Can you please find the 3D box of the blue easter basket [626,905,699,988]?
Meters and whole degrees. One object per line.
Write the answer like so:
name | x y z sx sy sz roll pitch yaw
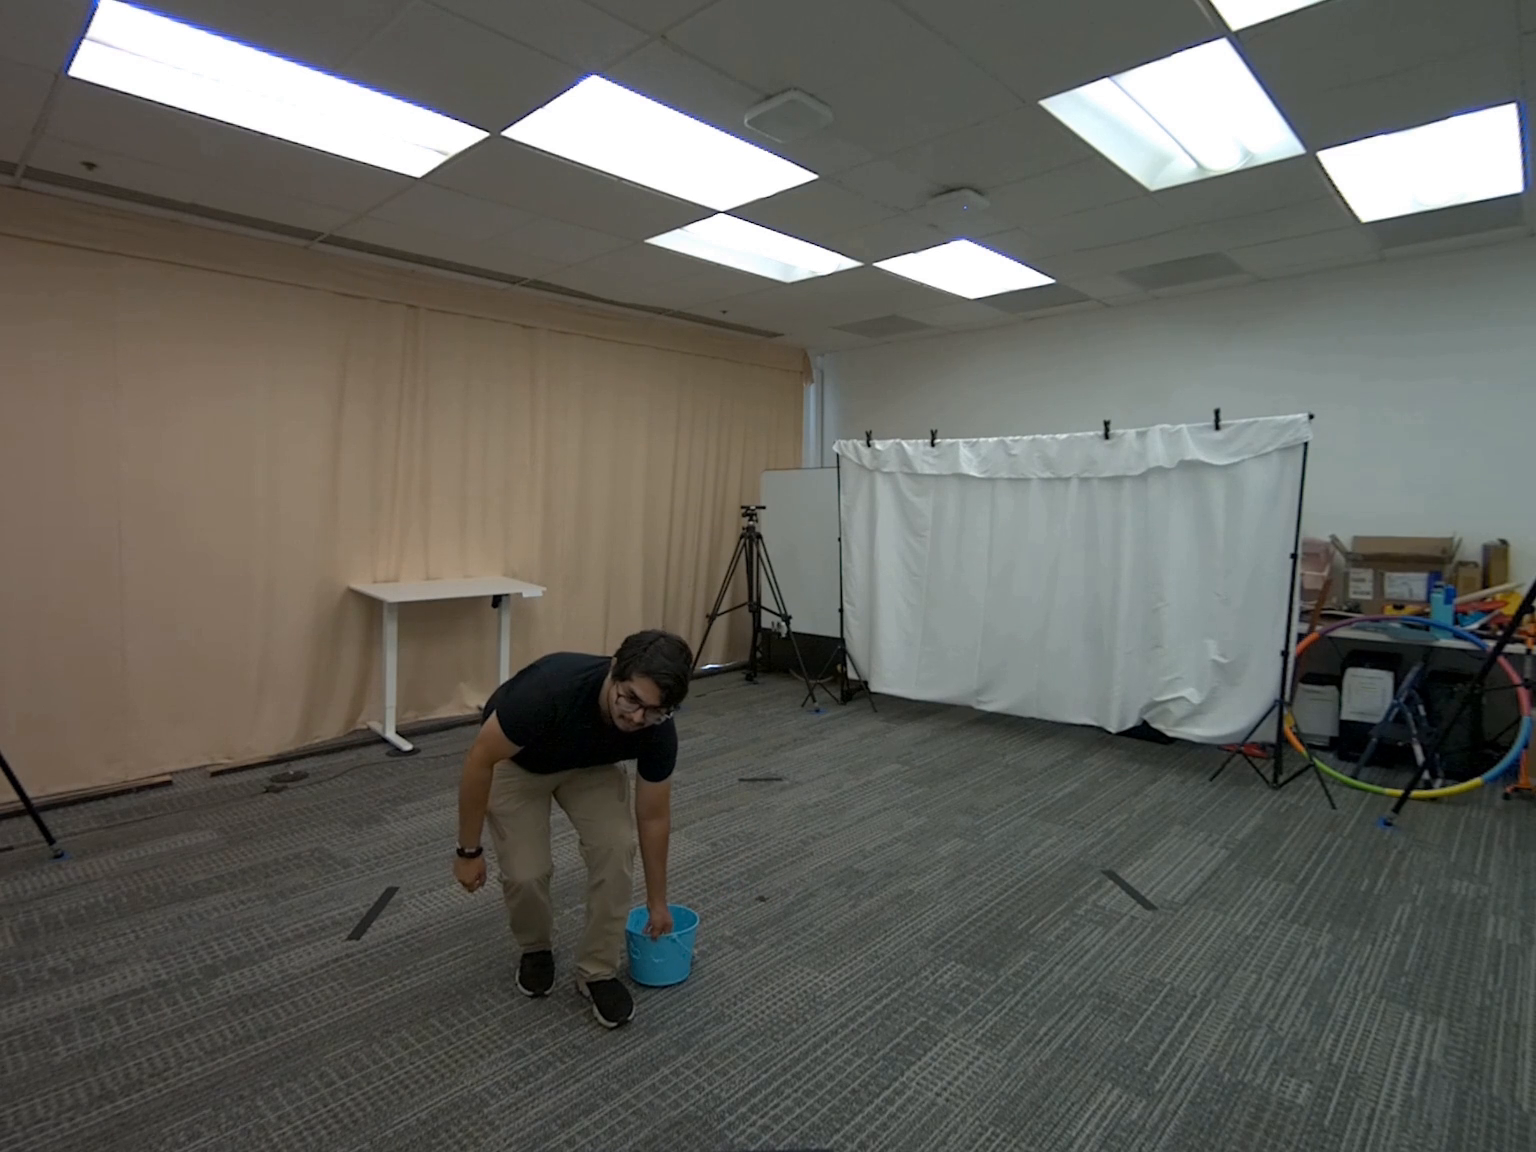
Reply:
blue easter basket | -0.318 1.107 2.507 0.243 0.156 0.244 0 0 -2
